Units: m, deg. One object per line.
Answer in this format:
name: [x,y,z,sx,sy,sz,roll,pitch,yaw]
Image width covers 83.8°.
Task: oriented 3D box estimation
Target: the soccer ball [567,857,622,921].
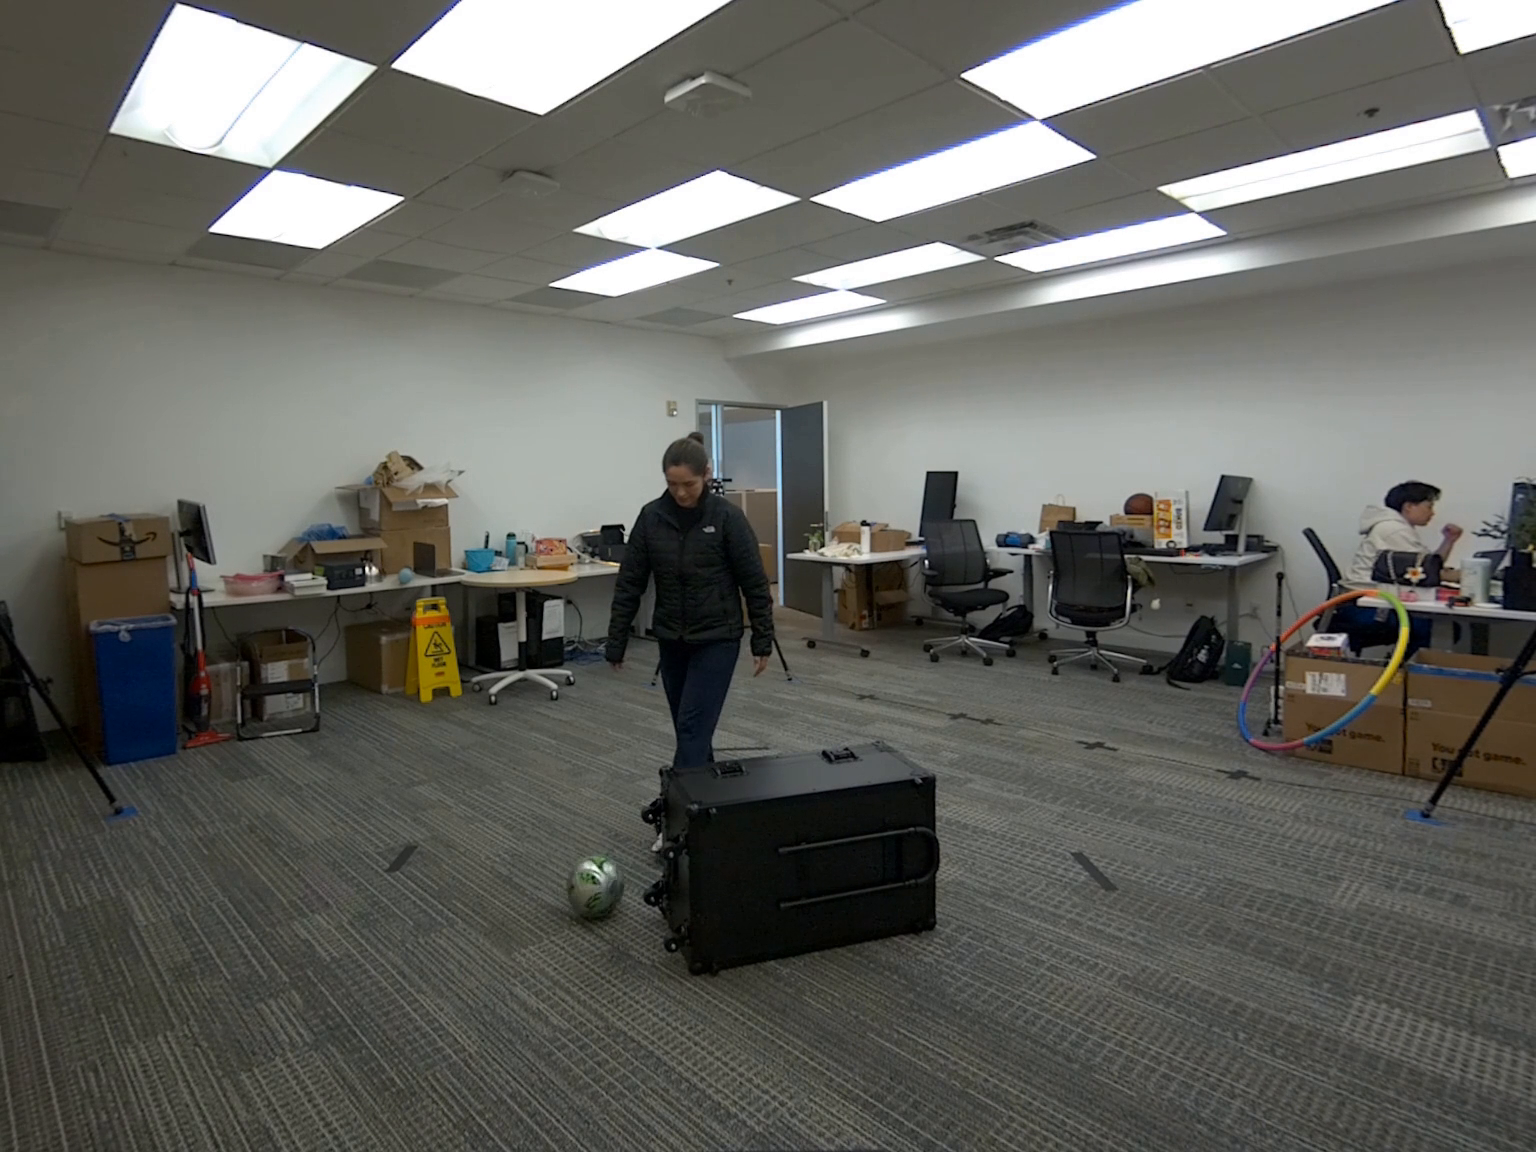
soccer ball: [-0.547,1.000,2.759,0.187,0.187,0.188,-1,5,-2]
